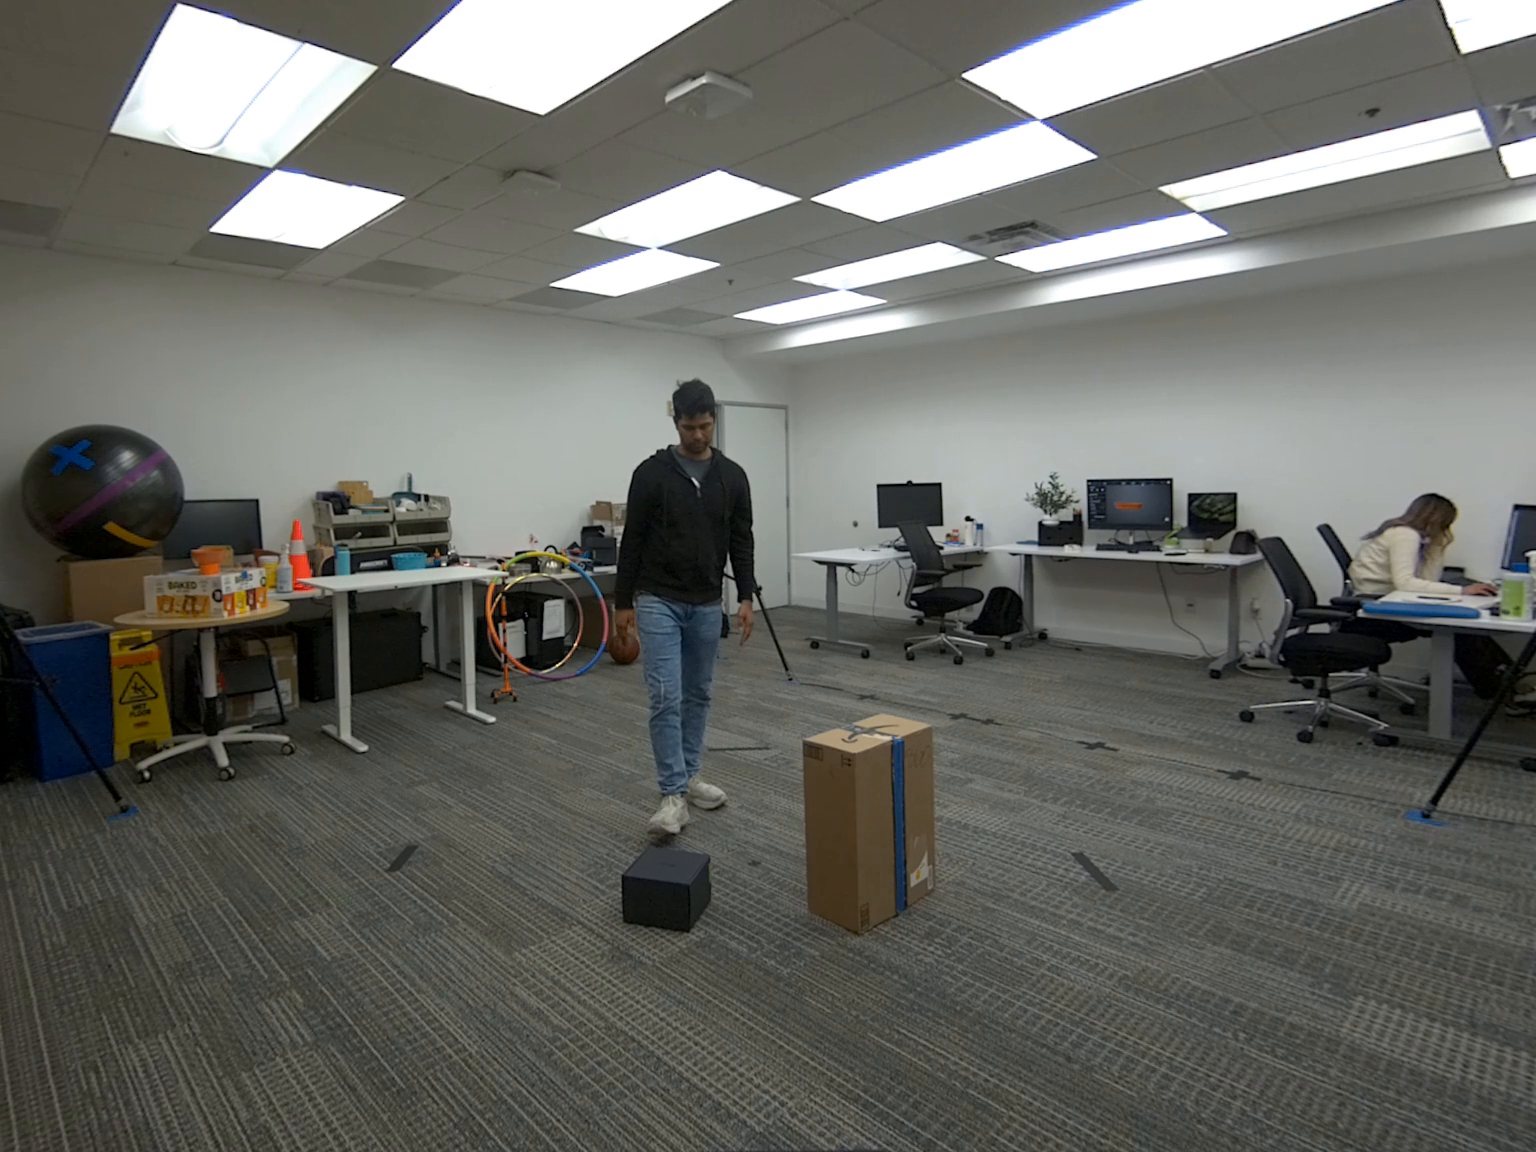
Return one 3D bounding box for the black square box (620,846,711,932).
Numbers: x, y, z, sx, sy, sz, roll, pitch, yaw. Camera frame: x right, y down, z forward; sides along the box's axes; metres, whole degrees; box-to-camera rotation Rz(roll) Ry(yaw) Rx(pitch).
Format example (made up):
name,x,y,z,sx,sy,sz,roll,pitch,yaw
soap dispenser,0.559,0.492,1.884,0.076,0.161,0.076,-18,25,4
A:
name,x,y,z,sx,sy,sz,roll,pitch,yaw
black square box,-0.321,1.007,2.762,0.231,0.155,0.214,-1,6,16
